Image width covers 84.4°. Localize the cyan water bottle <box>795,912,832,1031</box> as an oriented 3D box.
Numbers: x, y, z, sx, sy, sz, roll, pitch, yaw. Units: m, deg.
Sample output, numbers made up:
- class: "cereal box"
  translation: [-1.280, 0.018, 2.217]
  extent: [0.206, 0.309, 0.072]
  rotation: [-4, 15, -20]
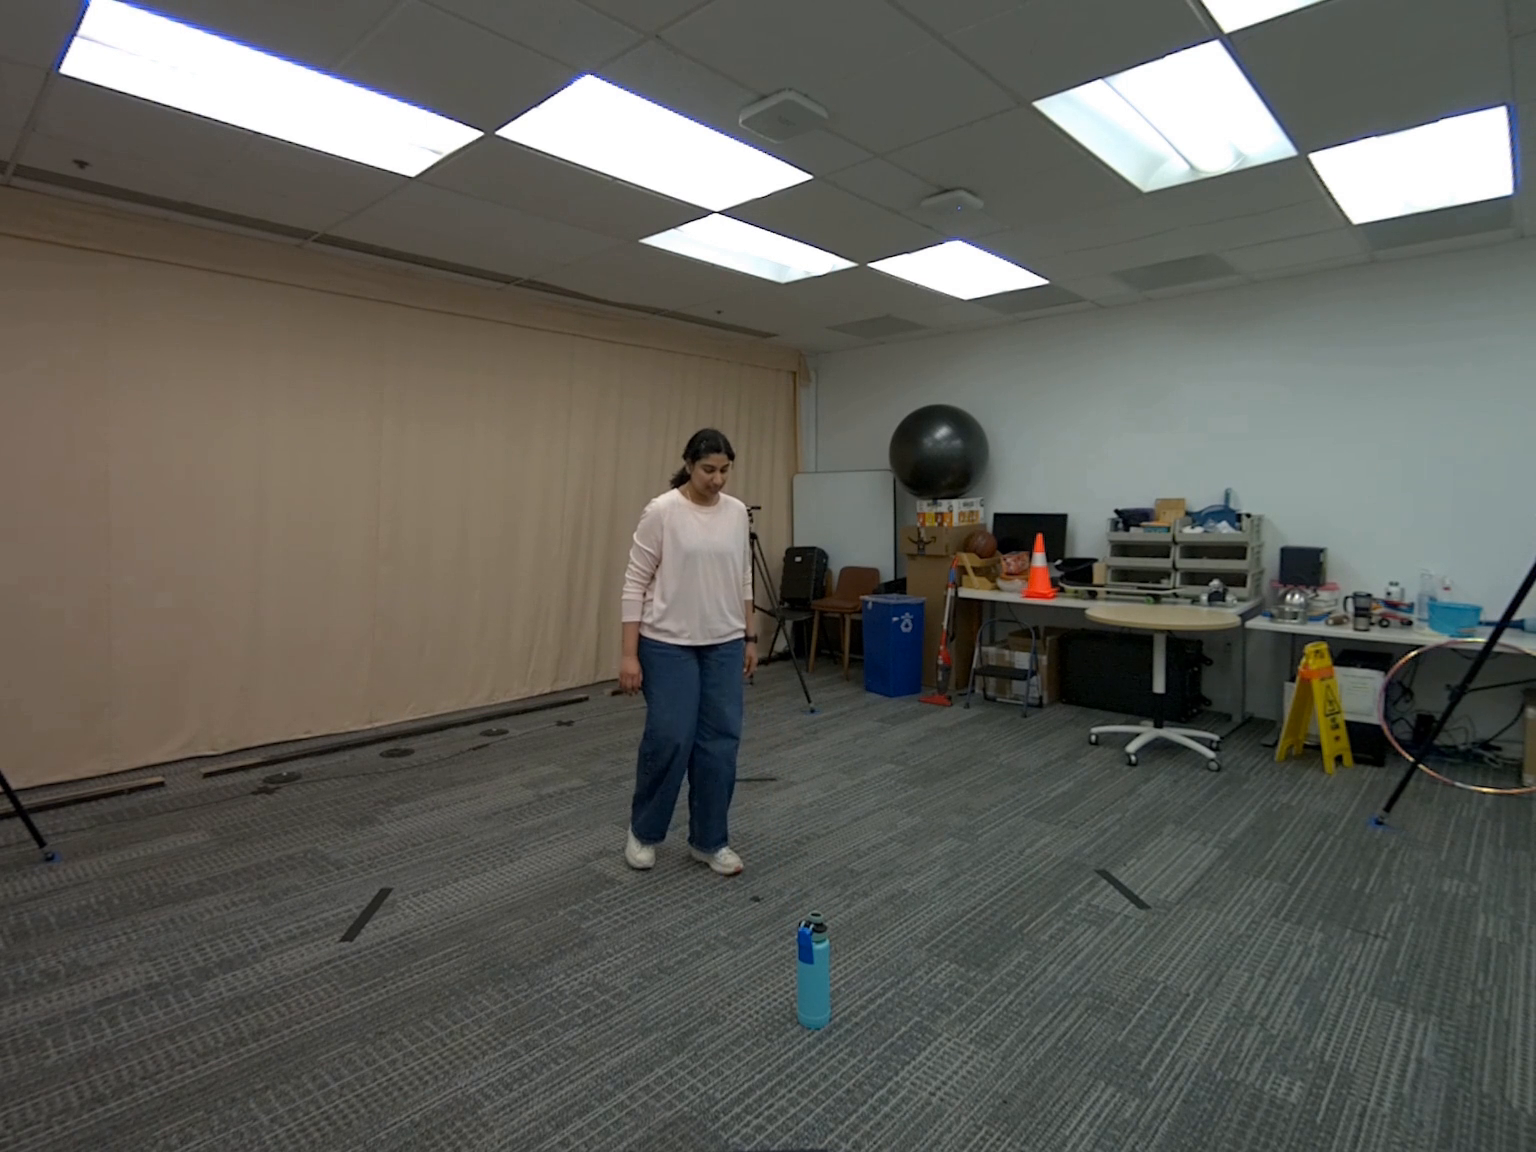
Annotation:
- class: "cyan water bottle"
  translation: [0.128, 1.067, 2.268]
  extent: [0.092, 0.283, 0.092]
  rotation: [1, 3, -2]
